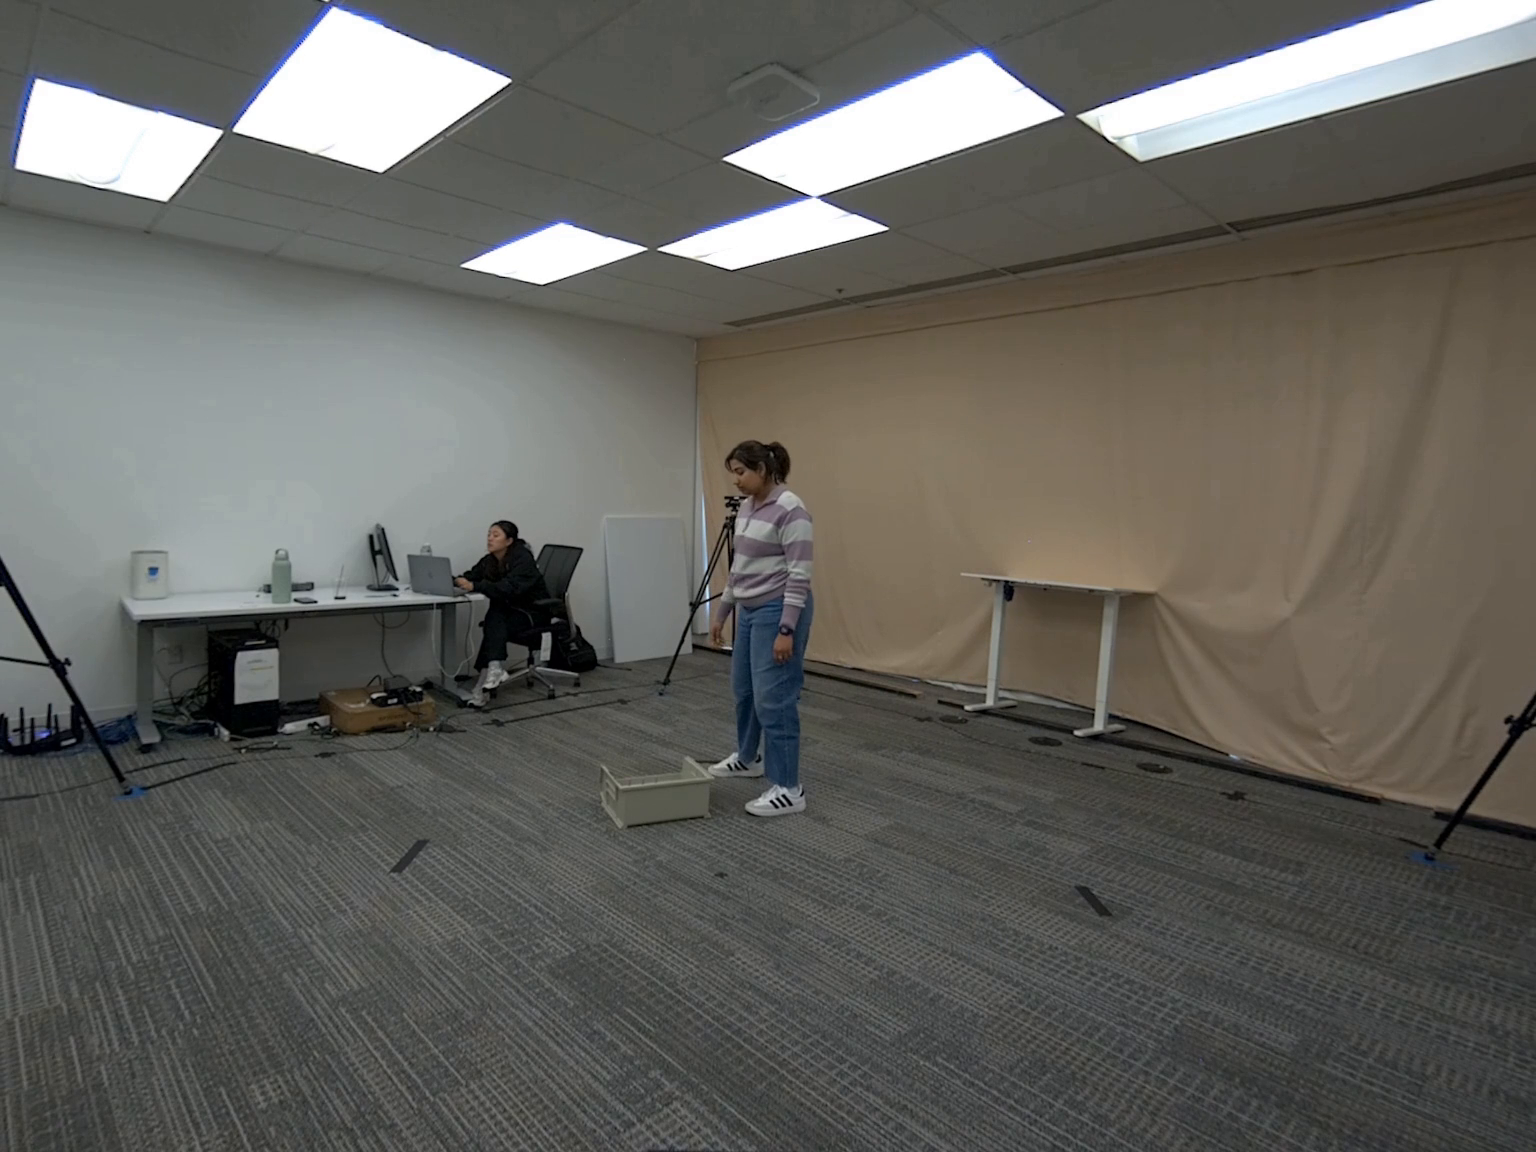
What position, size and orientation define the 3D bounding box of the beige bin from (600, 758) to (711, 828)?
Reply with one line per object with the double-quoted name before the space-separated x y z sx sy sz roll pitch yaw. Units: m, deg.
"beige bin" -0.515 0.951 3.746 0.415 0.188 0.385 0 6 -24
